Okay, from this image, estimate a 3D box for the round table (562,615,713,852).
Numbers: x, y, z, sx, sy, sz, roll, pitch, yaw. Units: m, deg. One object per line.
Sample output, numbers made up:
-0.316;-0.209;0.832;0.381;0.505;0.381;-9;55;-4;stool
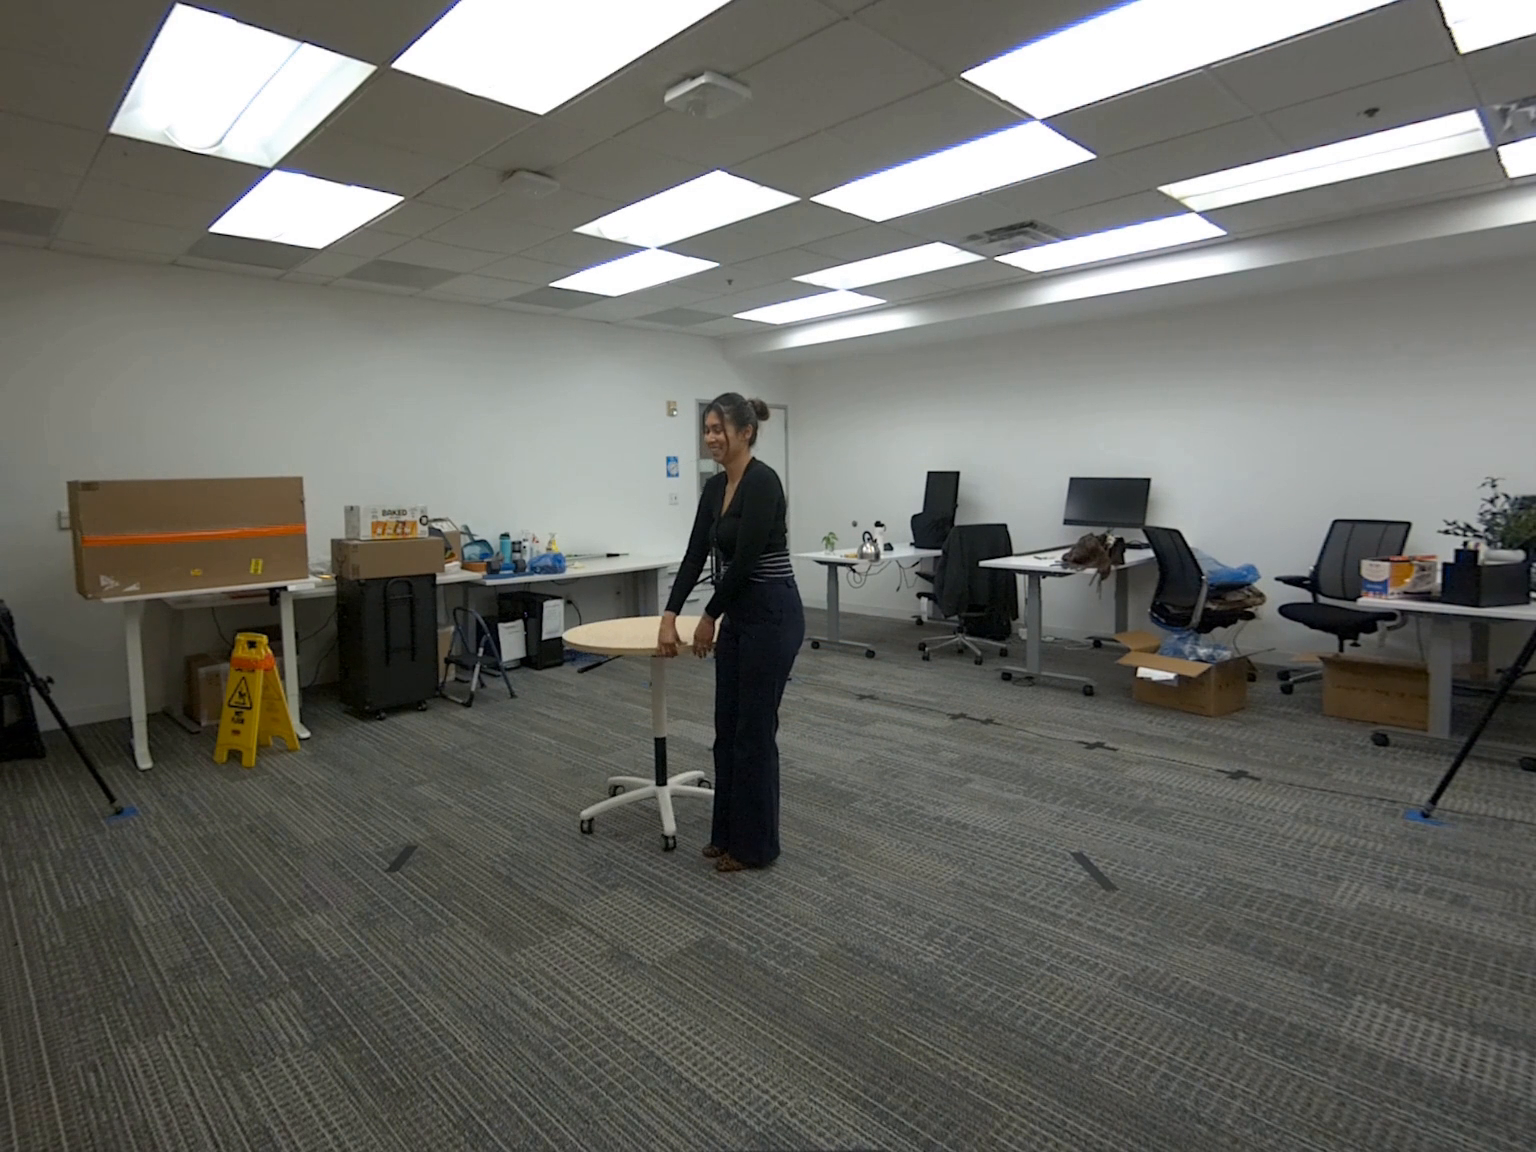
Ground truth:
-0.442;0.615;3.520;0.763;0.791;0.767;-2;4;-2;round table
